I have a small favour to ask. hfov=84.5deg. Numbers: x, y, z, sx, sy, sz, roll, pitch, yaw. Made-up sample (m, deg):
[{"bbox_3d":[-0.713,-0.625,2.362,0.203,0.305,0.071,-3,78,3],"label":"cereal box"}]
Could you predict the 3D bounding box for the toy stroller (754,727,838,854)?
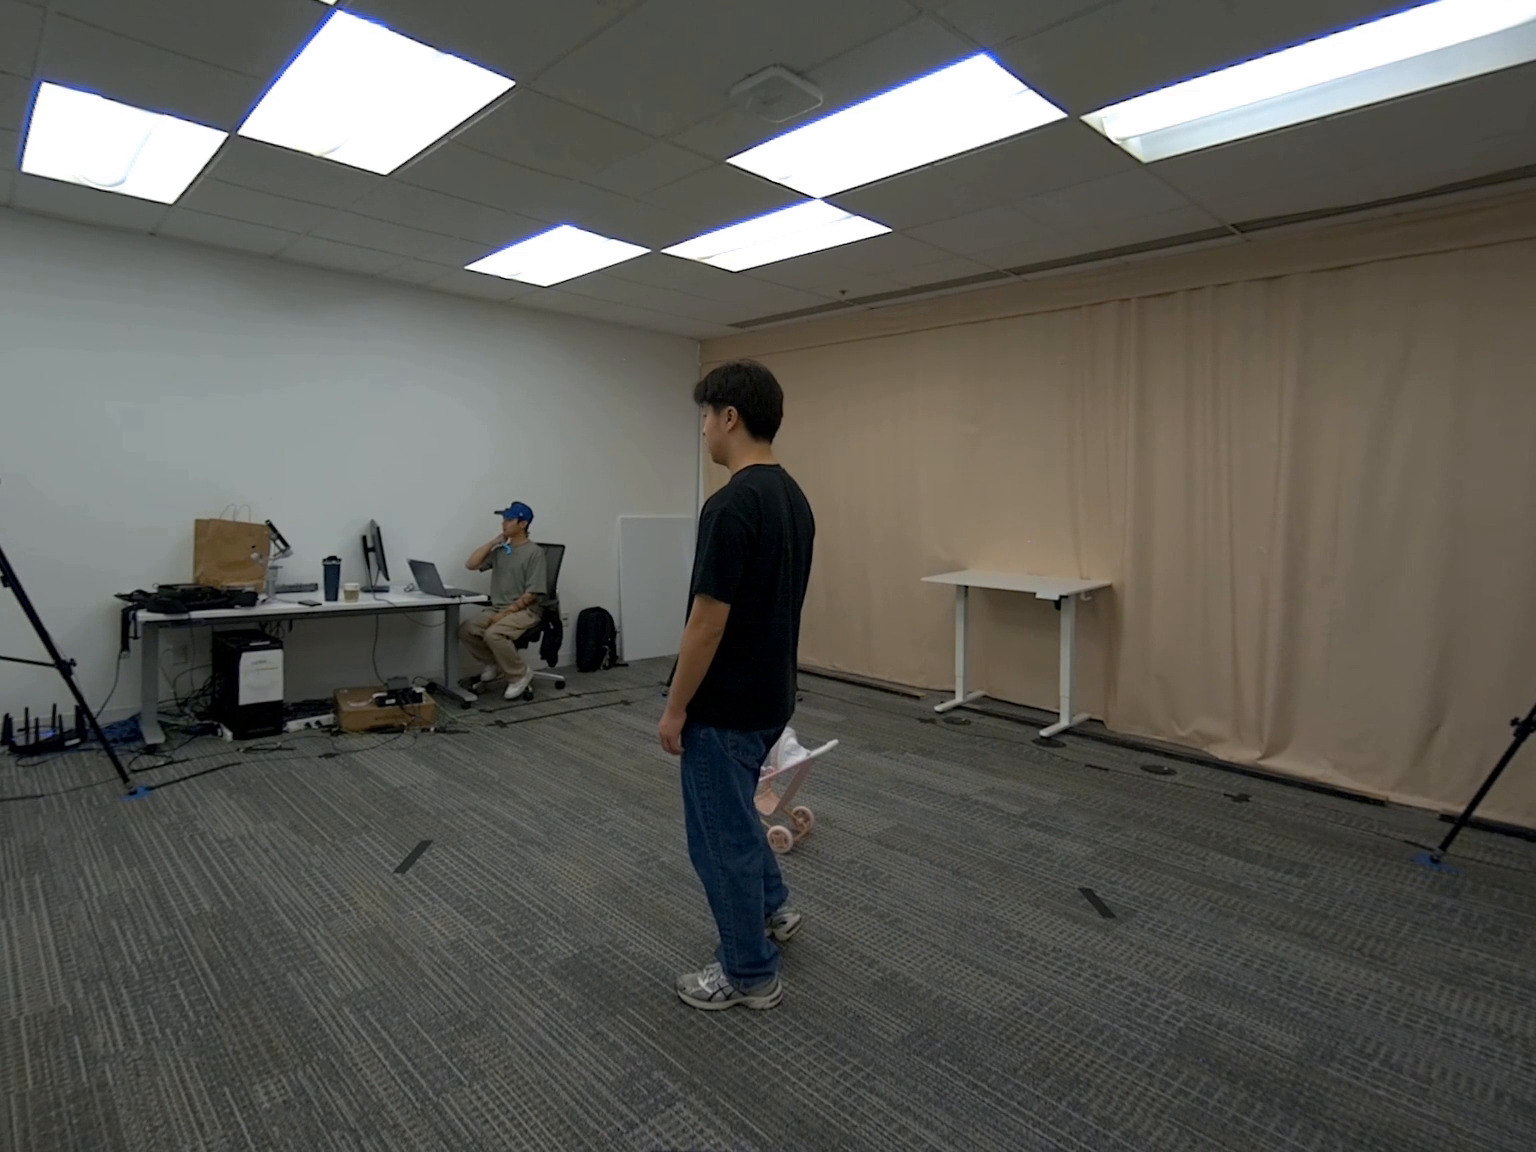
[{"bbox_3d":[0.038,0.858,3.453,0.350,0.532,0.276,22,12,27],"label":"toy stroller"}]
